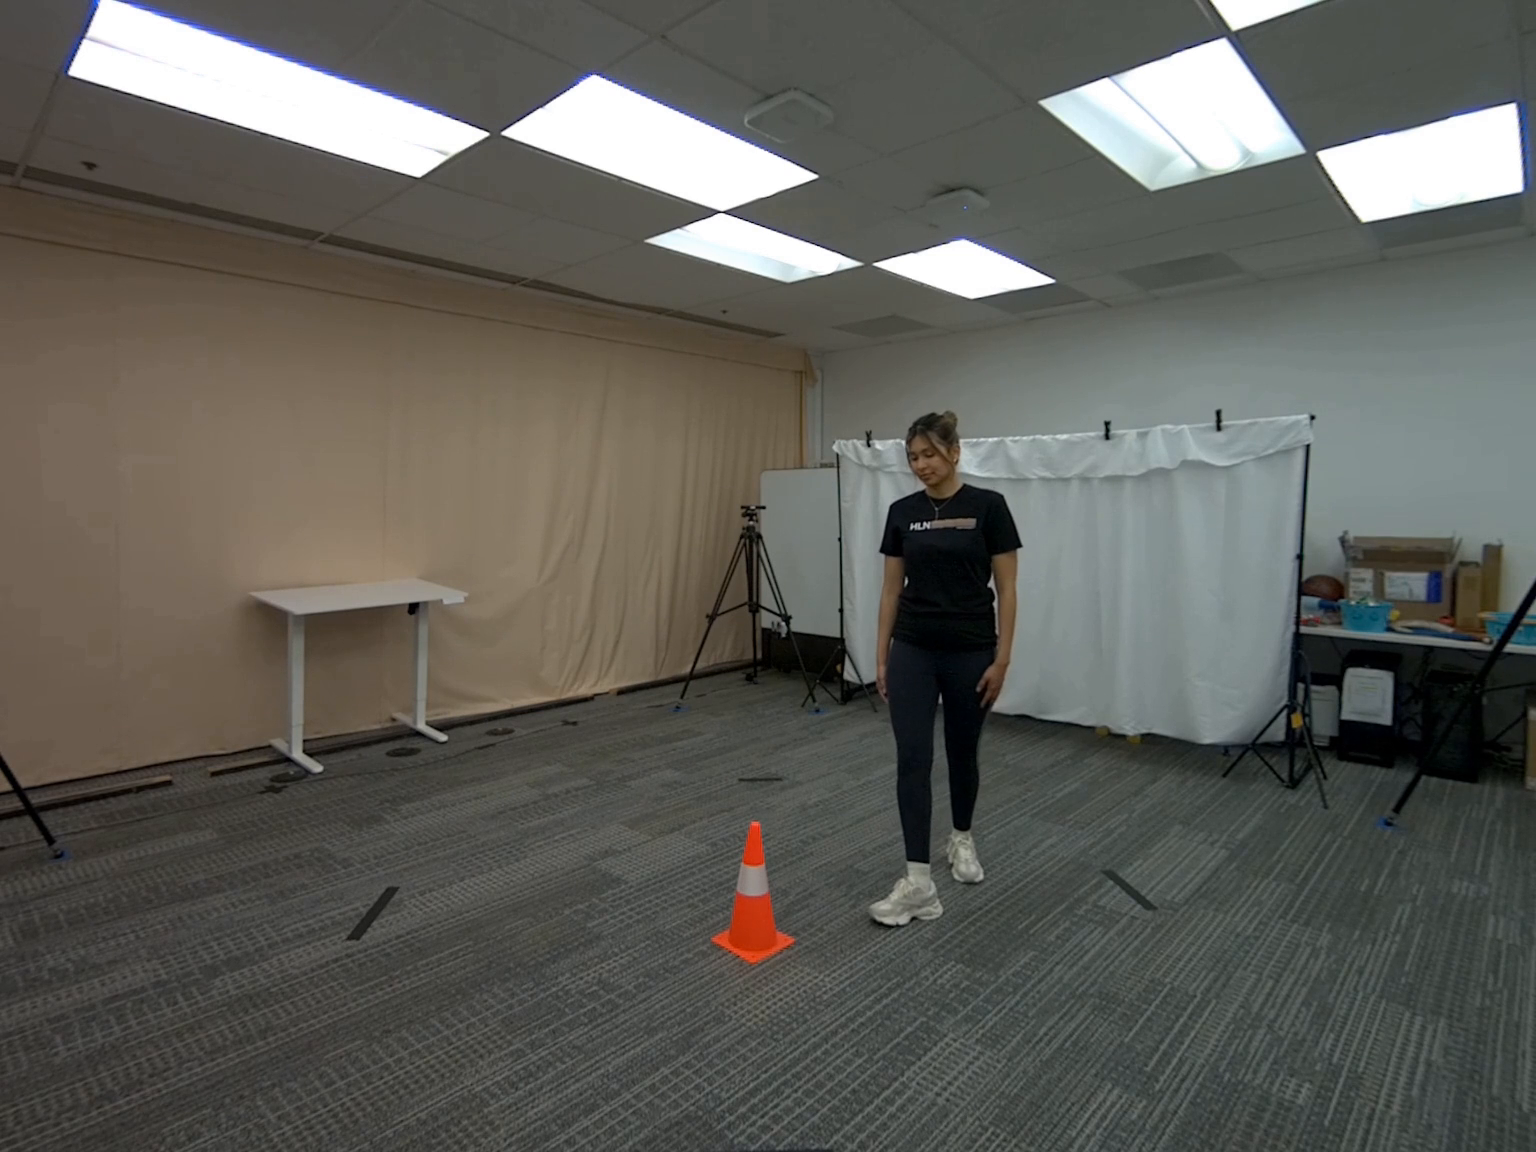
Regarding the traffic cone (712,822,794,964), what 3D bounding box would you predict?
[{"bbox_3d":[-0.047,0.986,2.683,0.210,0.383,0.199,1,4,42],"label":"traffic cone"}]
